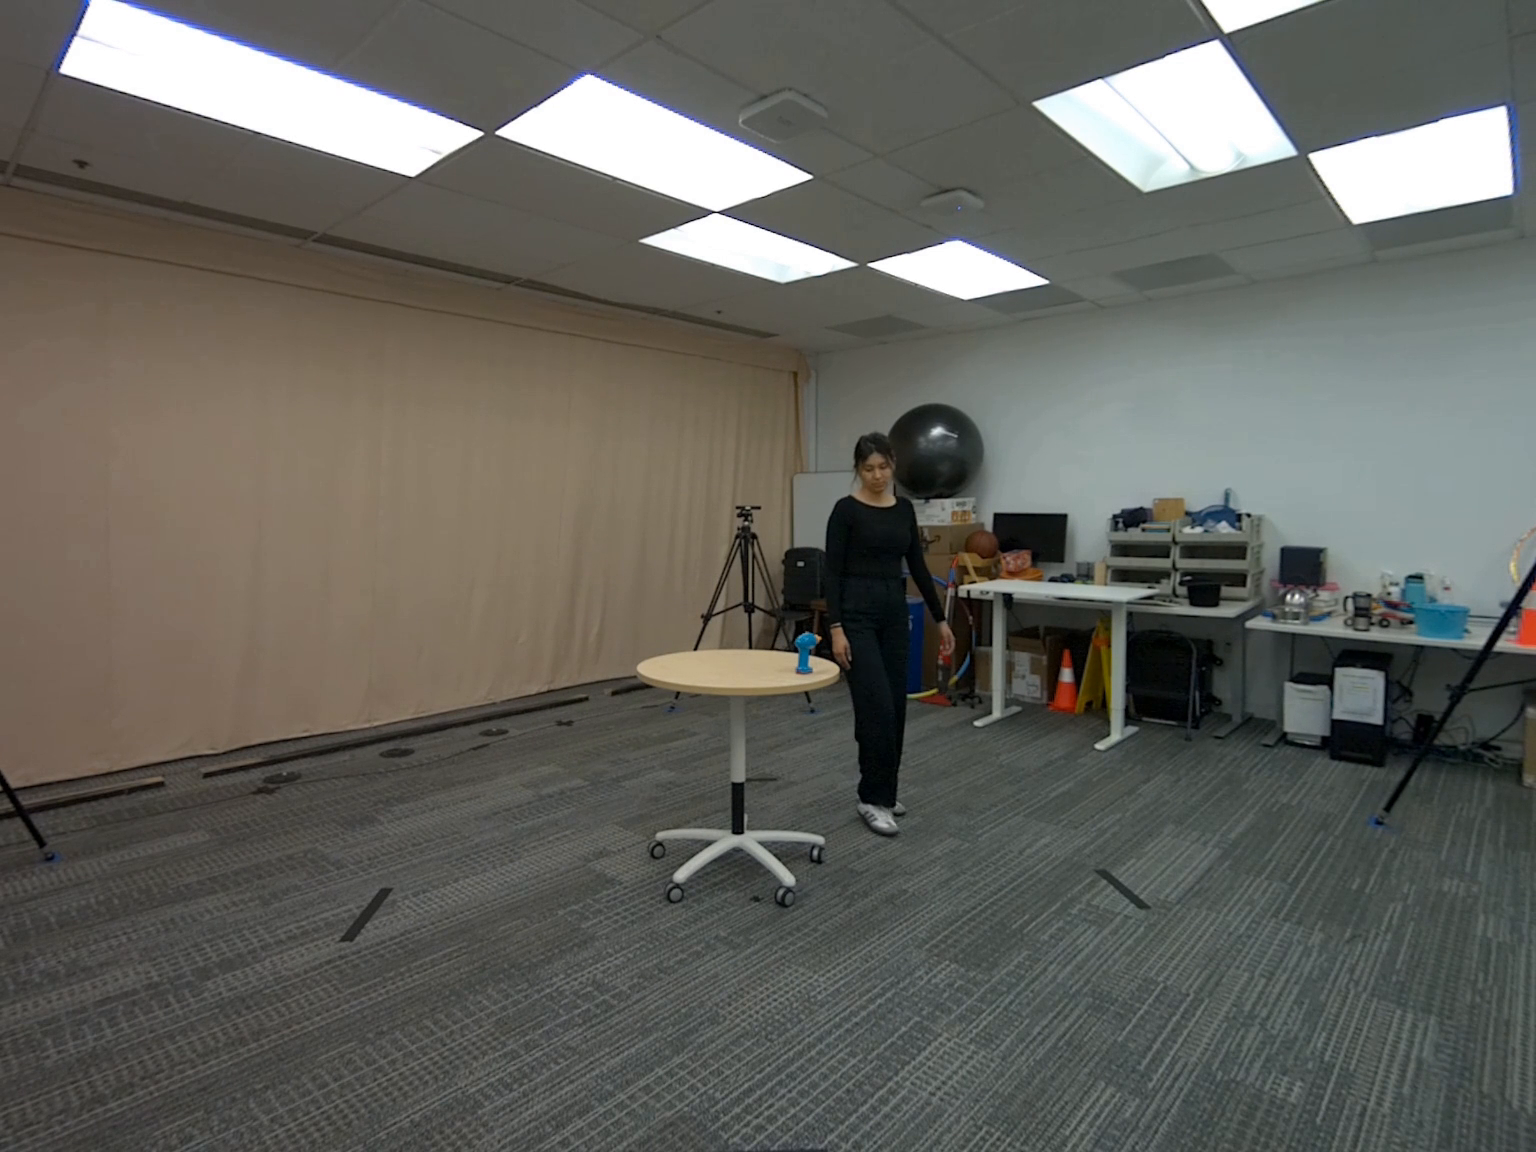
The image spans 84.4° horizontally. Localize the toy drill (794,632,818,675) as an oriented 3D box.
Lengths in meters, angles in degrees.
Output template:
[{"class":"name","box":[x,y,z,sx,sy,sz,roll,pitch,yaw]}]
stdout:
[{"class":"toy drill","box":[0.157,0.280,3.100,0.063,0.146,0.165,2,3,33]}]
